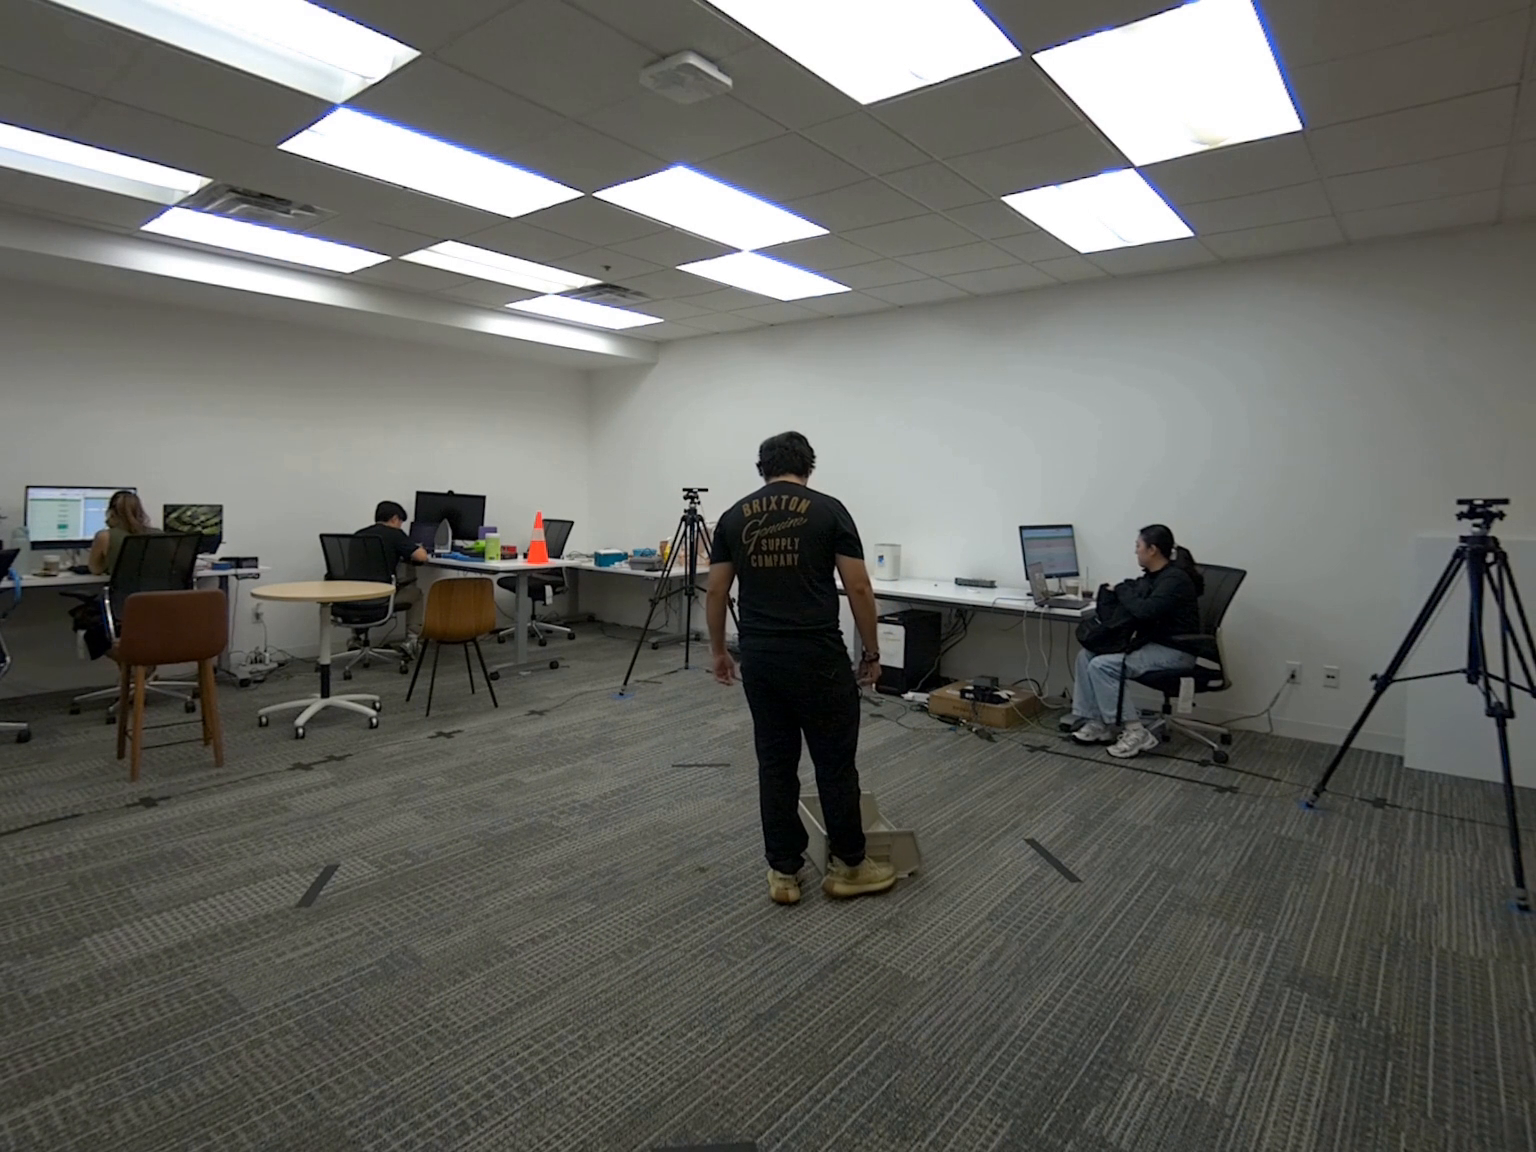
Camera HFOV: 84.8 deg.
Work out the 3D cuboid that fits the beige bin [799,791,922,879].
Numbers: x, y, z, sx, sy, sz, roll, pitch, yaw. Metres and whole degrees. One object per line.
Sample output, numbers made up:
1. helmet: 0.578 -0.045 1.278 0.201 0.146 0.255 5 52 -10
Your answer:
1. beige bin: 0.336 0.988 3.247 0.372 0.188 0.430 0 6 -13
